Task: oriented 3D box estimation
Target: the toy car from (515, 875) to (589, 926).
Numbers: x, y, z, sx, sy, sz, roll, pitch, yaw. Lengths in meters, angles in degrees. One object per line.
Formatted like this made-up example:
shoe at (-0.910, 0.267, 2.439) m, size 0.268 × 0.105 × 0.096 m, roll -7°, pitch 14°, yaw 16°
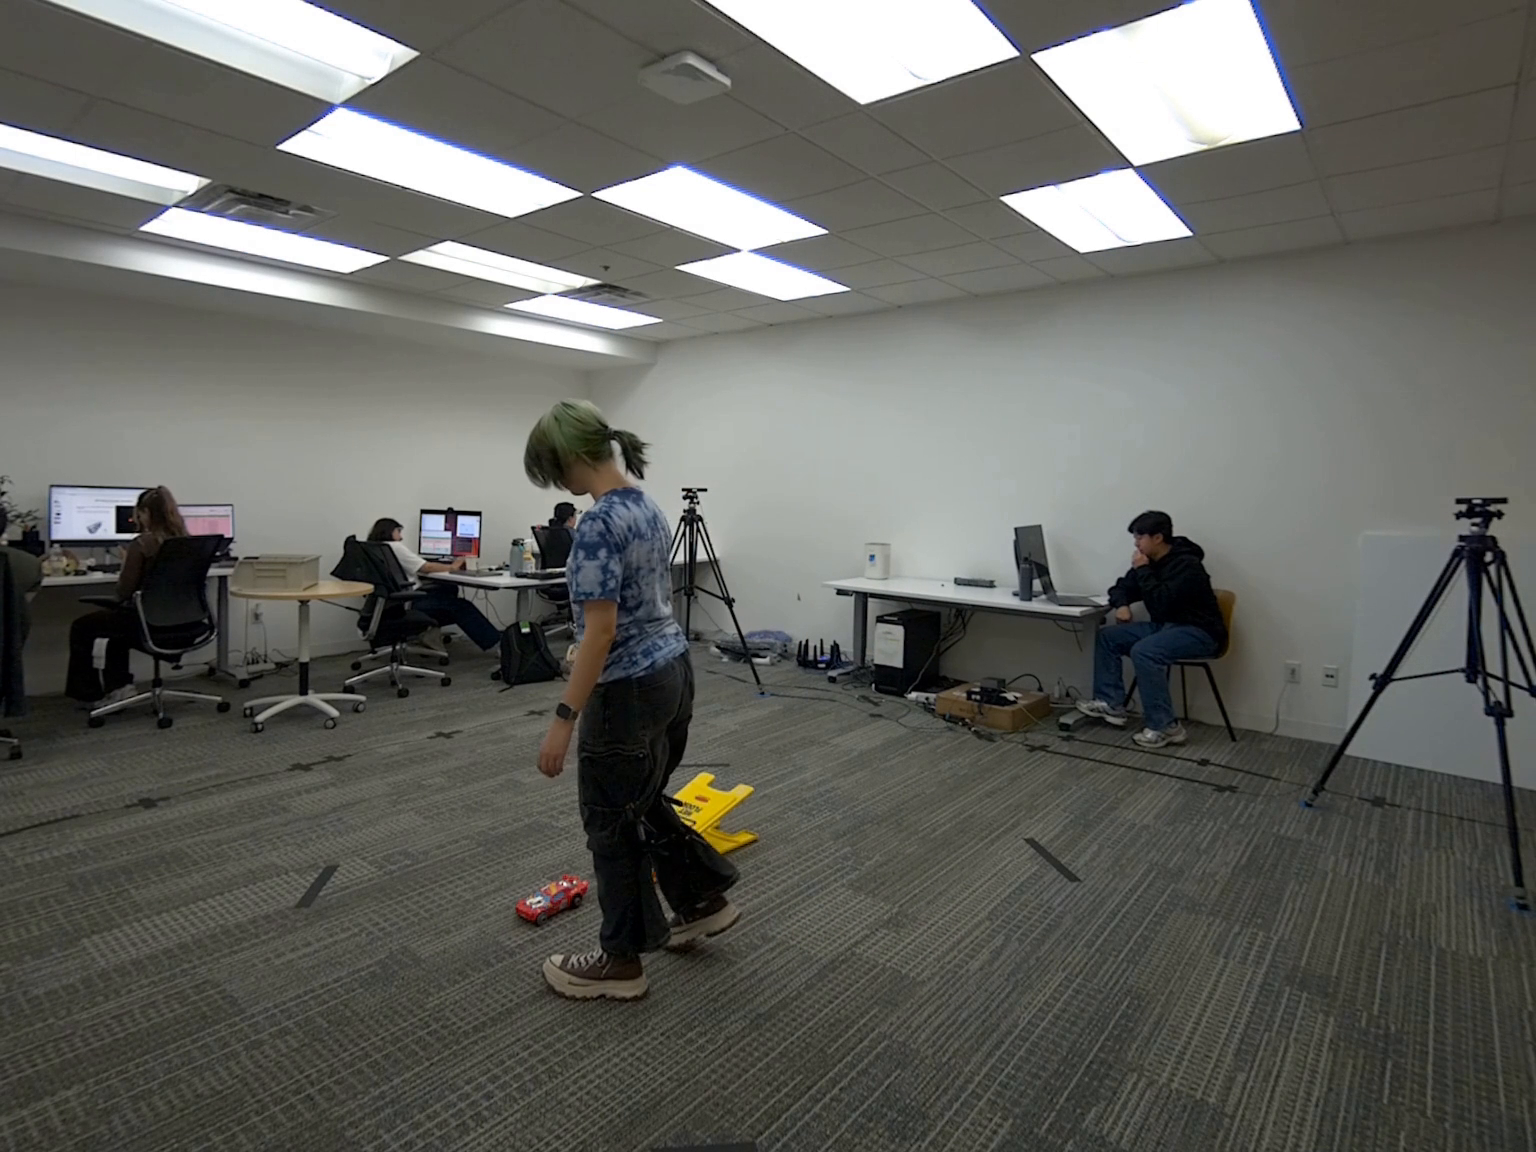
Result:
toy car at (-0.712, 1.061, 2.792) m, size 0.134 × 0.082 × 0.250 m, roll 4°, pitch 18°, yaw 37°
